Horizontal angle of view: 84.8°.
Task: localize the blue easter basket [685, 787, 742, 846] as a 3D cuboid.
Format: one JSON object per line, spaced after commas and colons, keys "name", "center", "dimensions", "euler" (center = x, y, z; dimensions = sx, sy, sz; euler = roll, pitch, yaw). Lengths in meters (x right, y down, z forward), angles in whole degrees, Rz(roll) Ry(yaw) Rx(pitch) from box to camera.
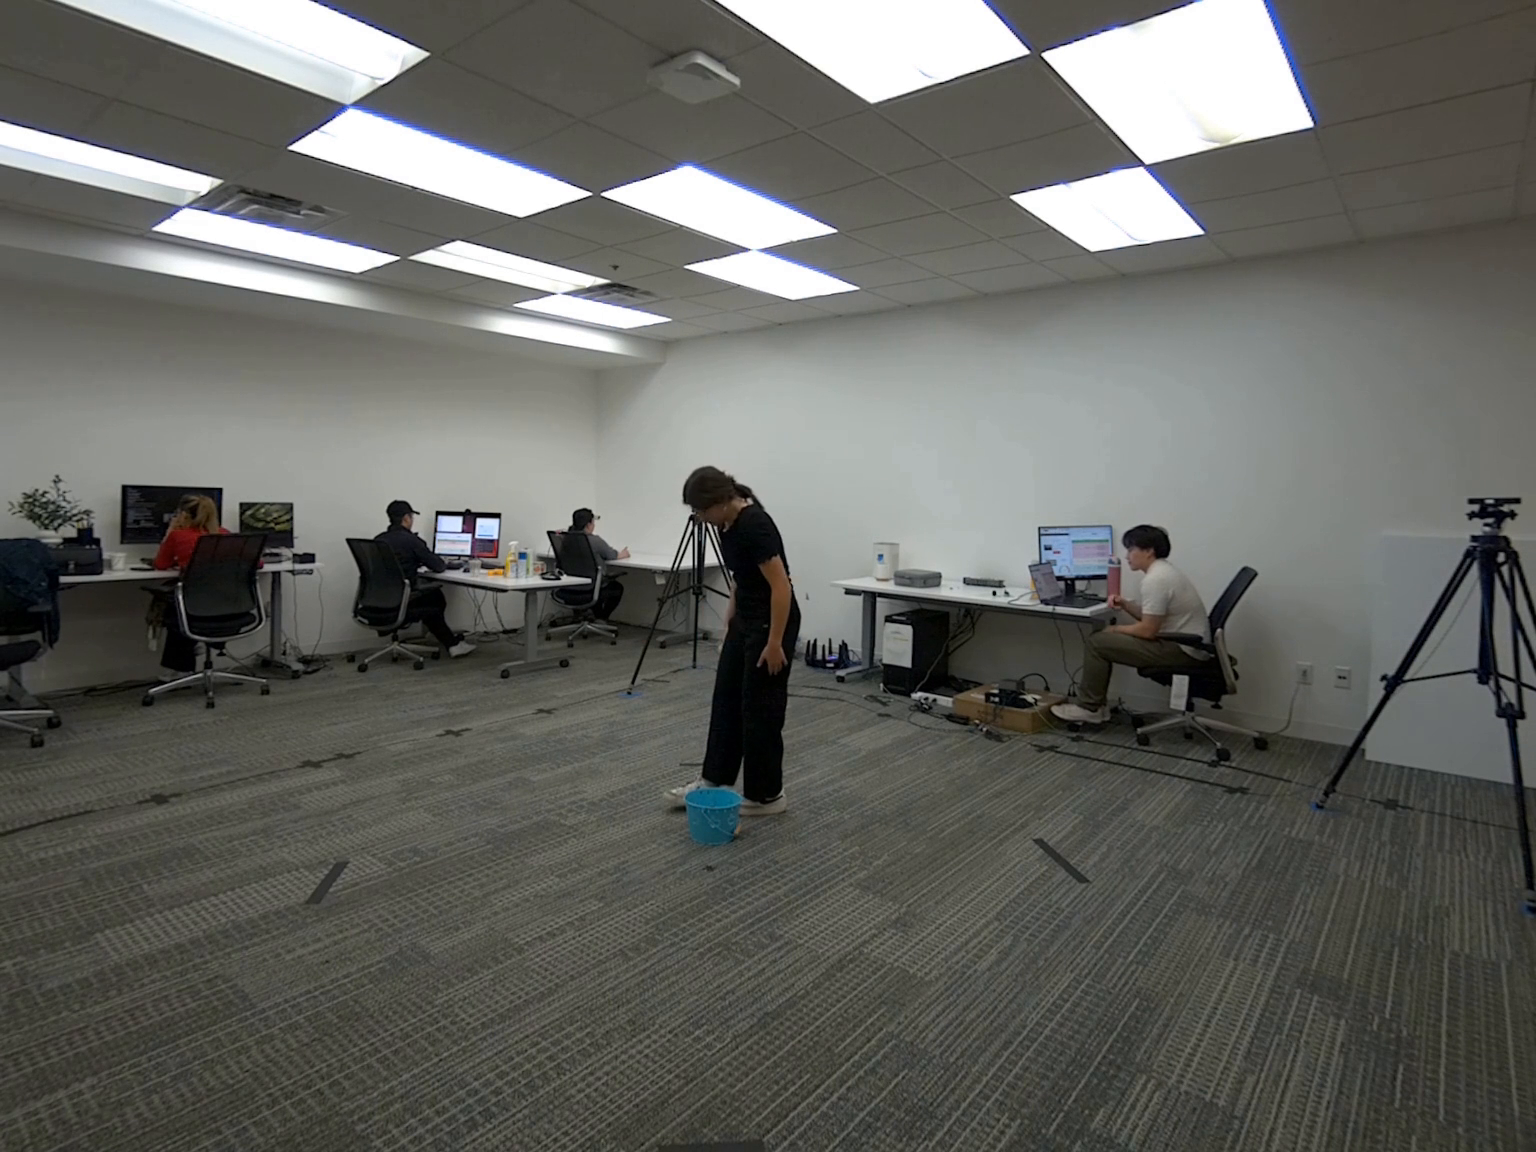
{"name": "blue easter basket", "center": [-0.233, 0.960, 3.405], "dimensions": [0.243, 0.155, 0.244], "euler": [0, 4, -2]}
